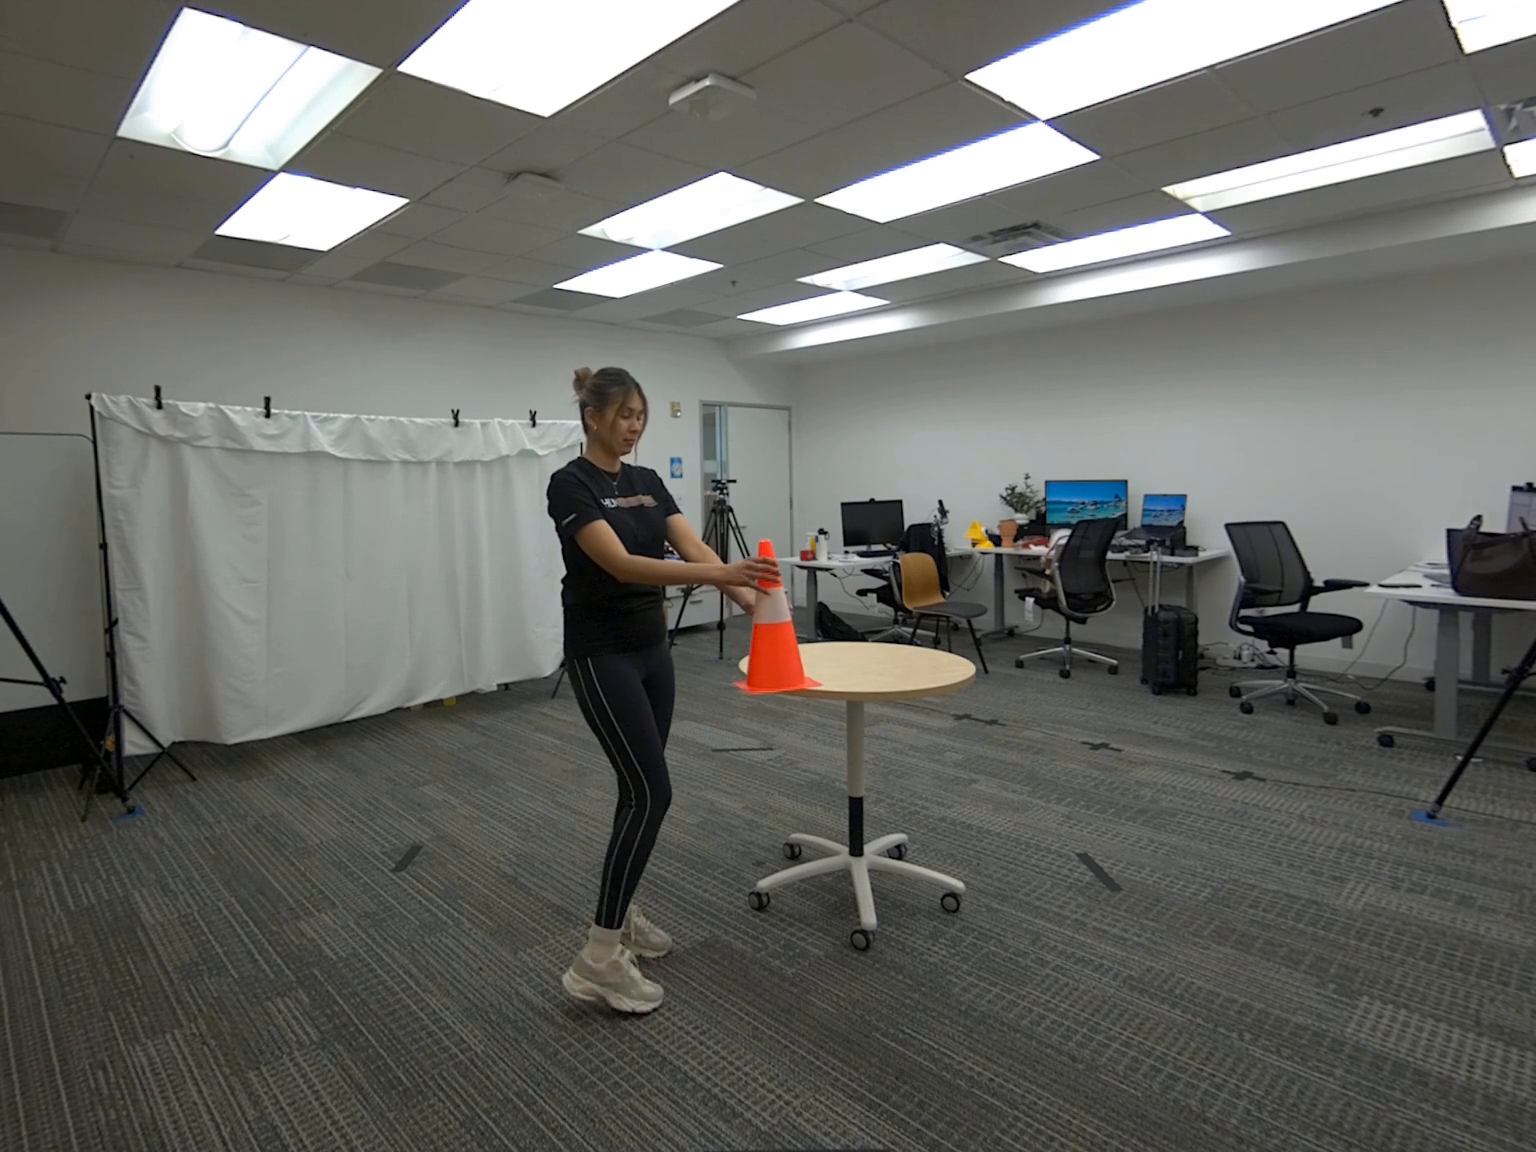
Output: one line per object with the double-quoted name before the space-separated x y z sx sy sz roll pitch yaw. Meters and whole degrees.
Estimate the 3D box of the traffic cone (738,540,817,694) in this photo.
"traffic cone" 0.007 0.090 2.253 0.201 0.384 0.207 -5 0 -11
